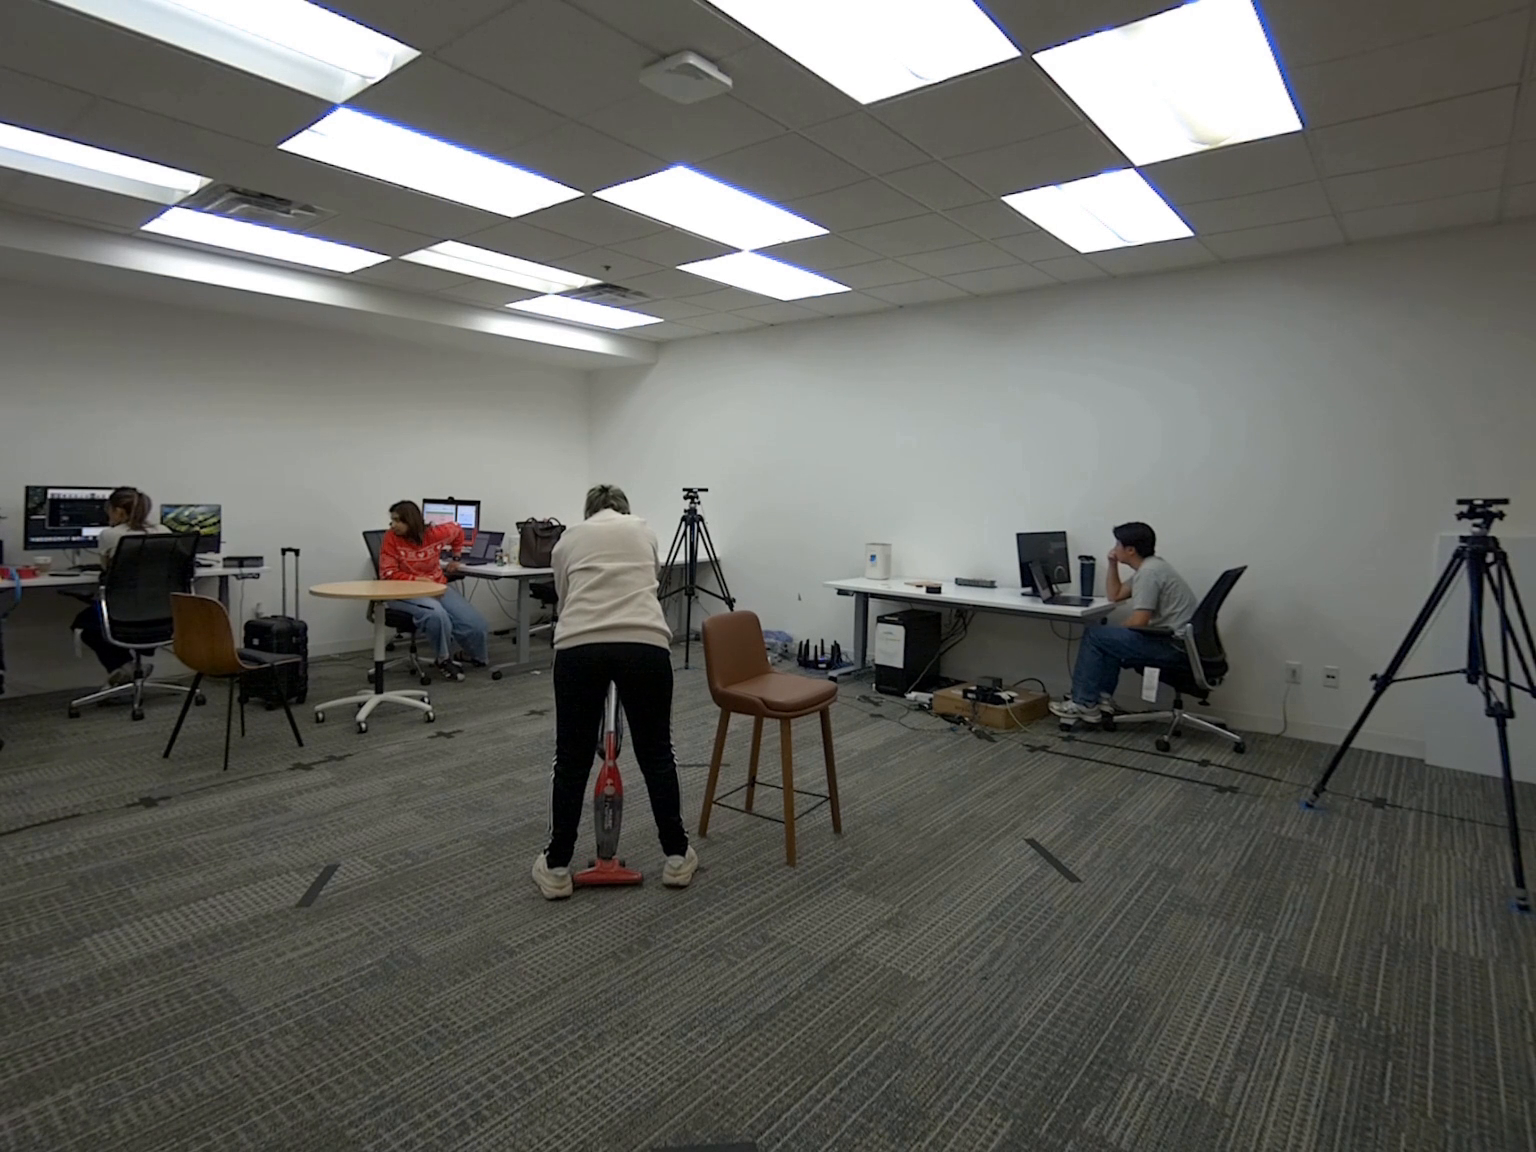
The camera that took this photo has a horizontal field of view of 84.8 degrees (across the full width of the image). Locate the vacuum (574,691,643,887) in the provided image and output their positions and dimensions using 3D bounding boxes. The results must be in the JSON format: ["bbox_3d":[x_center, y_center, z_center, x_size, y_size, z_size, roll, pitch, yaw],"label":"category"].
[{"bbox_3d":[-0.625,0.627,3.341,0.251,1.082,0.140,-3,-37,-6],"label":"vacuum"}]
